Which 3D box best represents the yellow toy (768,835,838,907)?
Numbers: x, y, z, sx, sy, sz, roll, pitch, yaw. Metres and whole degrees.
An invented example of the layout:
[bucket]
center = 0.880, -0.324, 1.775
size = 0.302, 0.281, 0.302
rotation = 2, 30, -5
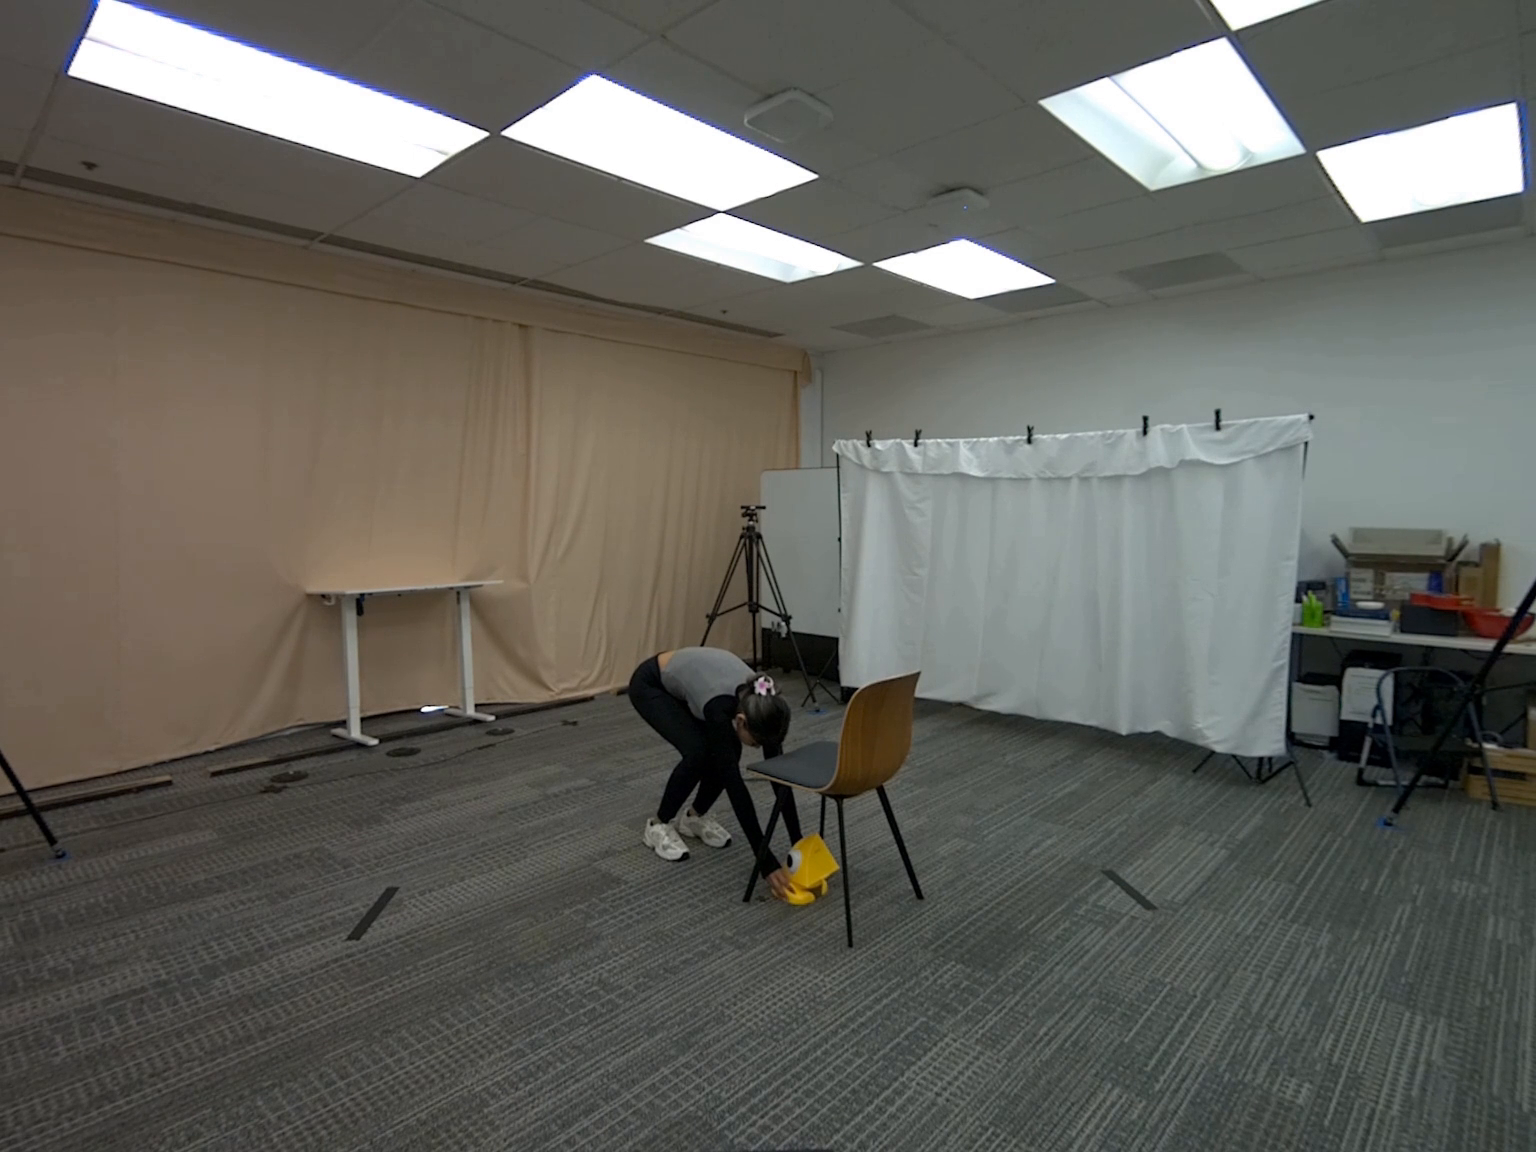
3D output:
[yellow toy]
center = 0.128, 1.028, 3.033
size = 0.199, 0.230, 0.198
rotation = 4, 6, 39
